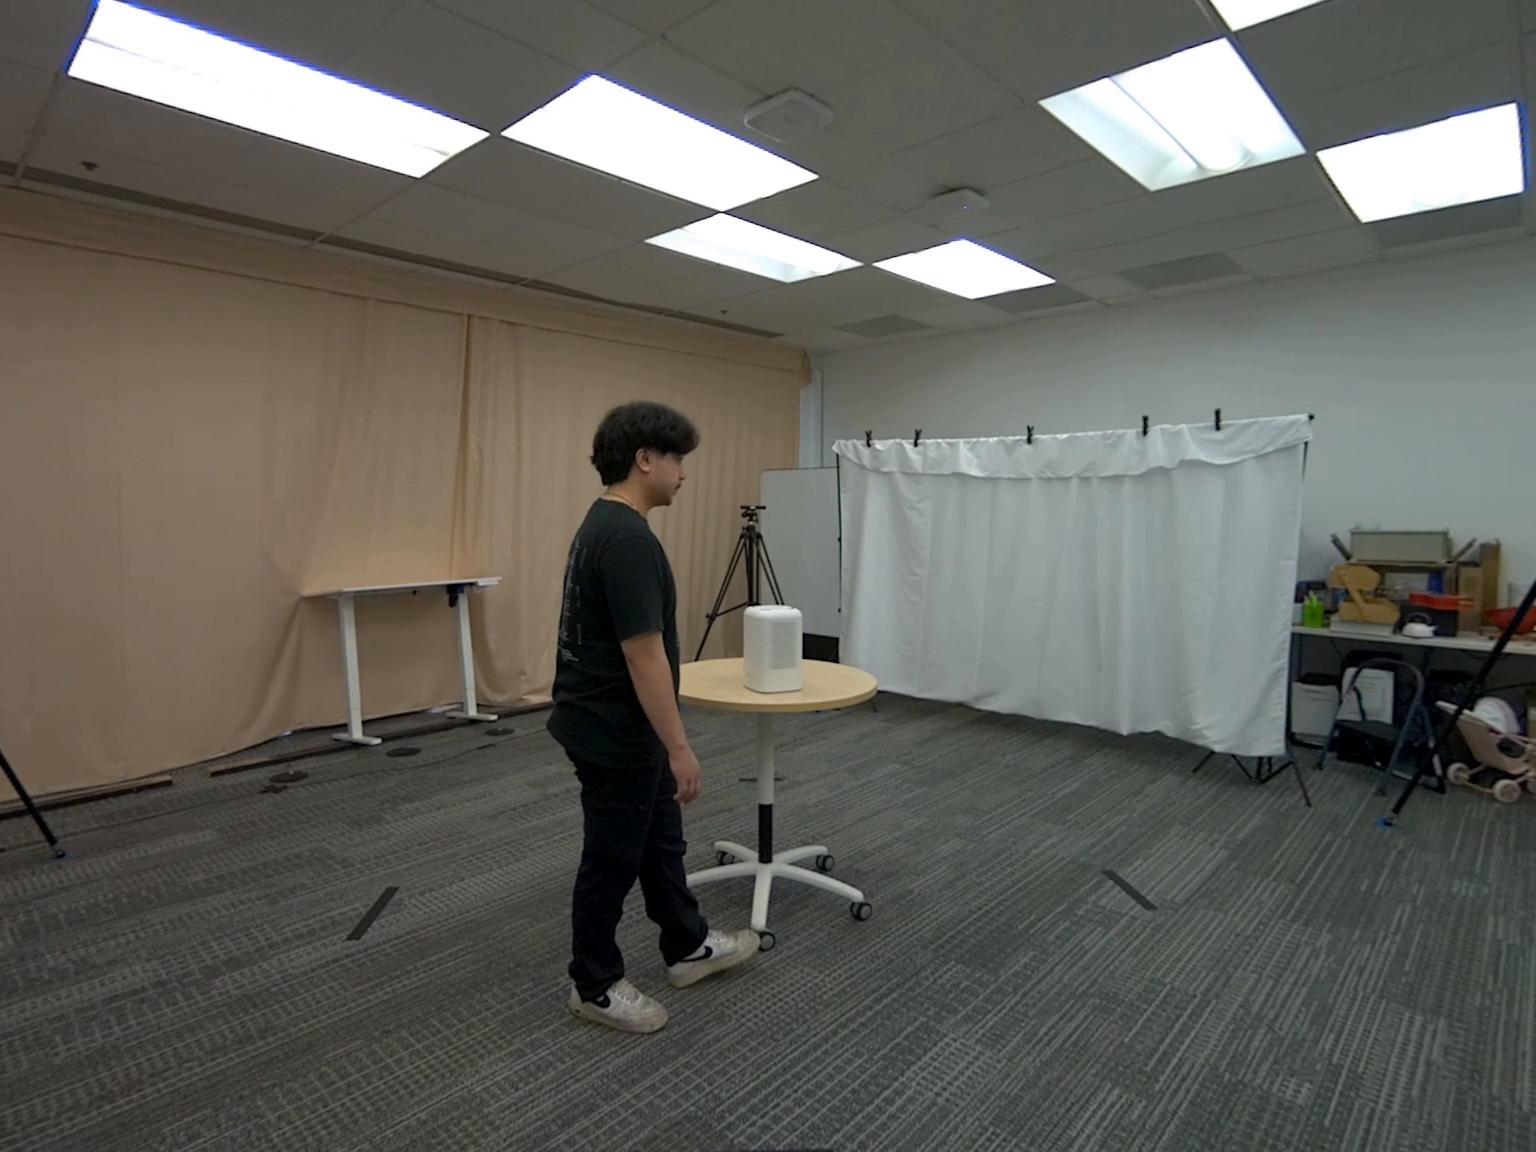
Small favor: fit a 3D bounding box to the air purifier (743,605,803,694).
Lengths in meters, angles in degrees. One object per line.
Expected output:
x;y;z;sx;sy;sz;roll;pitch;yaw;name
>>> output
0.022;0.236;2.767;0.168;0.264;0.175;-1;5;-22;air purifier
